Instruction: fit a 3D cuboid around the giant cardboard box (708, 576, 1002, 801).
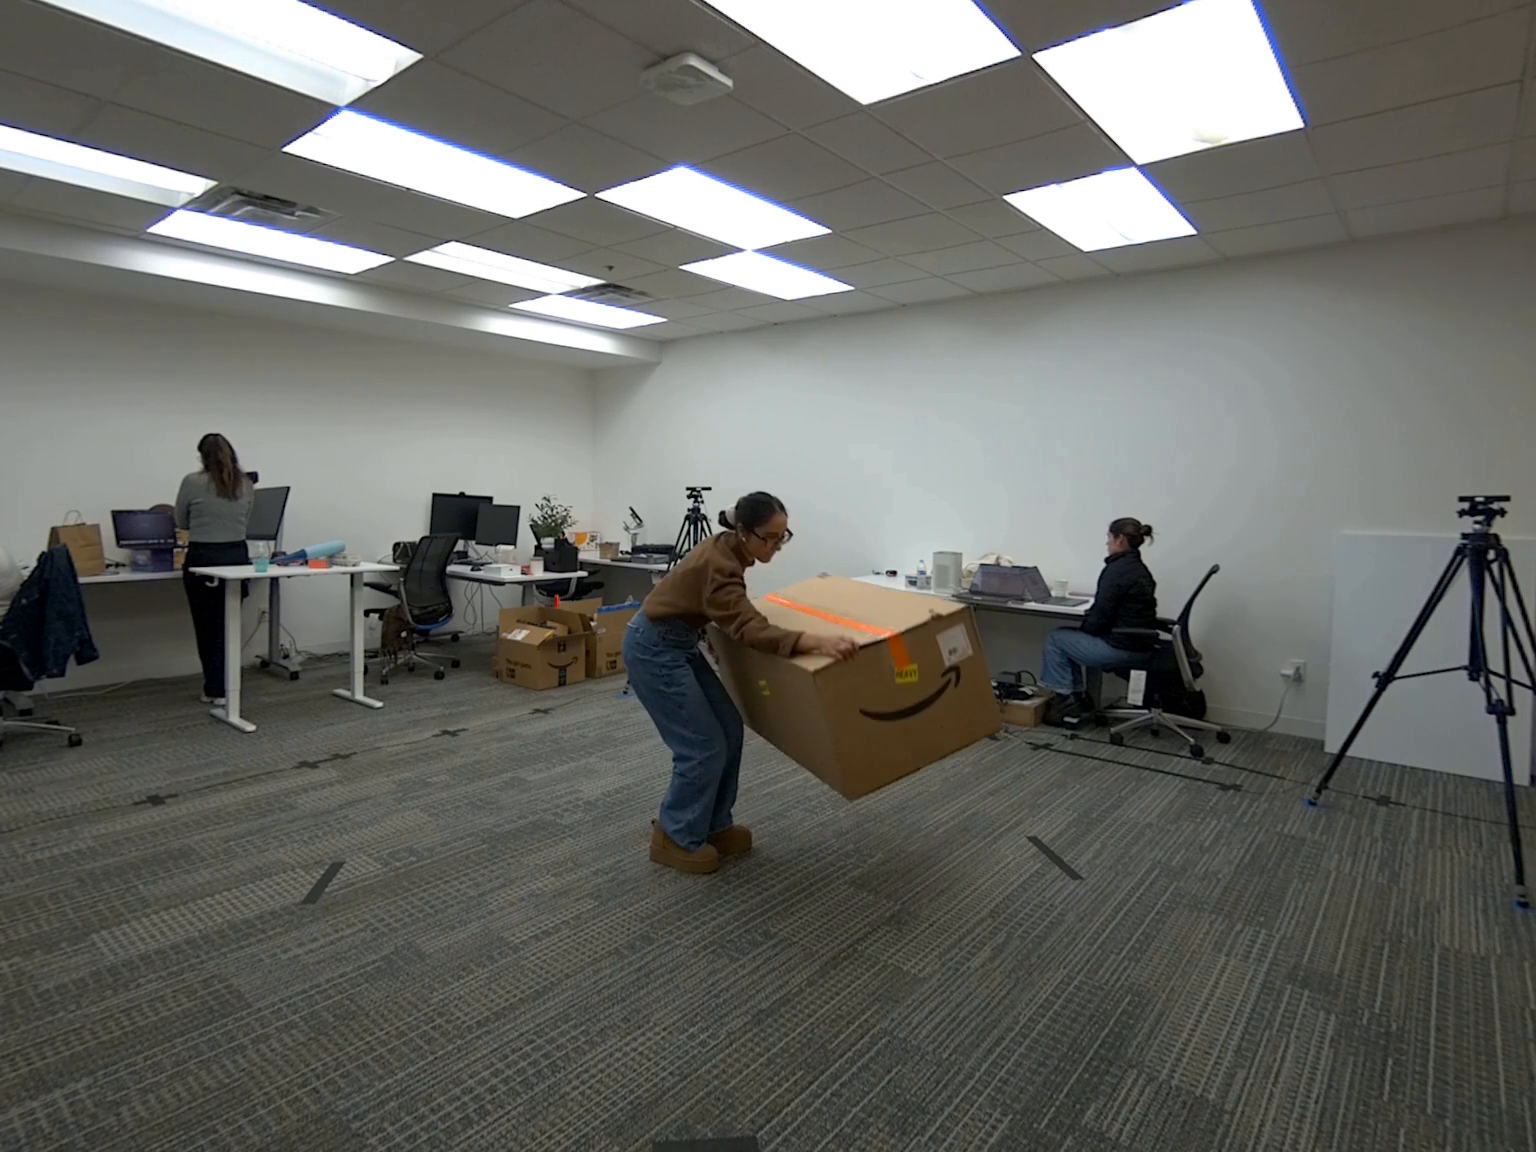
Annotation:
[{"bbox_3d":[0.238,0.316,3.059,0.570,0.420,1.052,-21,13,-20],"label":"giant cardboard box"}]
